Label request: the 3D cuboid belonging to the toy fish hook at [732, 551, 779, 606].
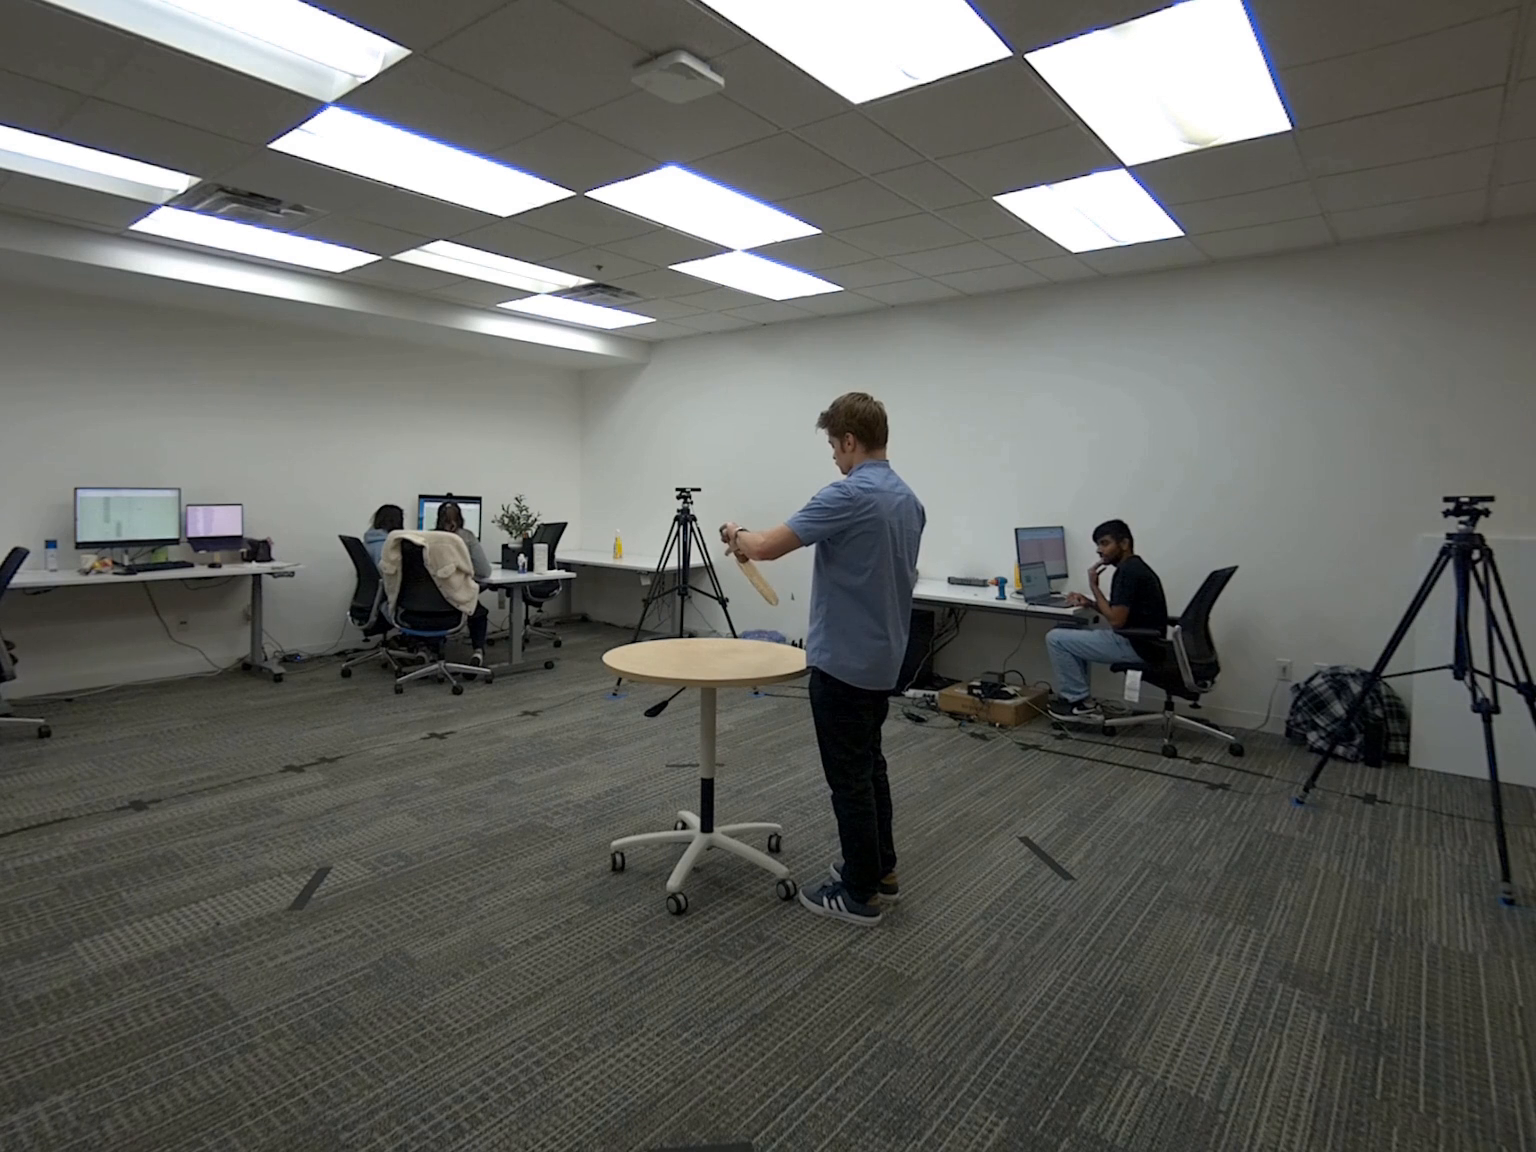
[{"bbox_3d":[-0.104,-0.060,3.124,0.234,0.048,0.486,40,-12,41],"label":"toy fish hook"}]
